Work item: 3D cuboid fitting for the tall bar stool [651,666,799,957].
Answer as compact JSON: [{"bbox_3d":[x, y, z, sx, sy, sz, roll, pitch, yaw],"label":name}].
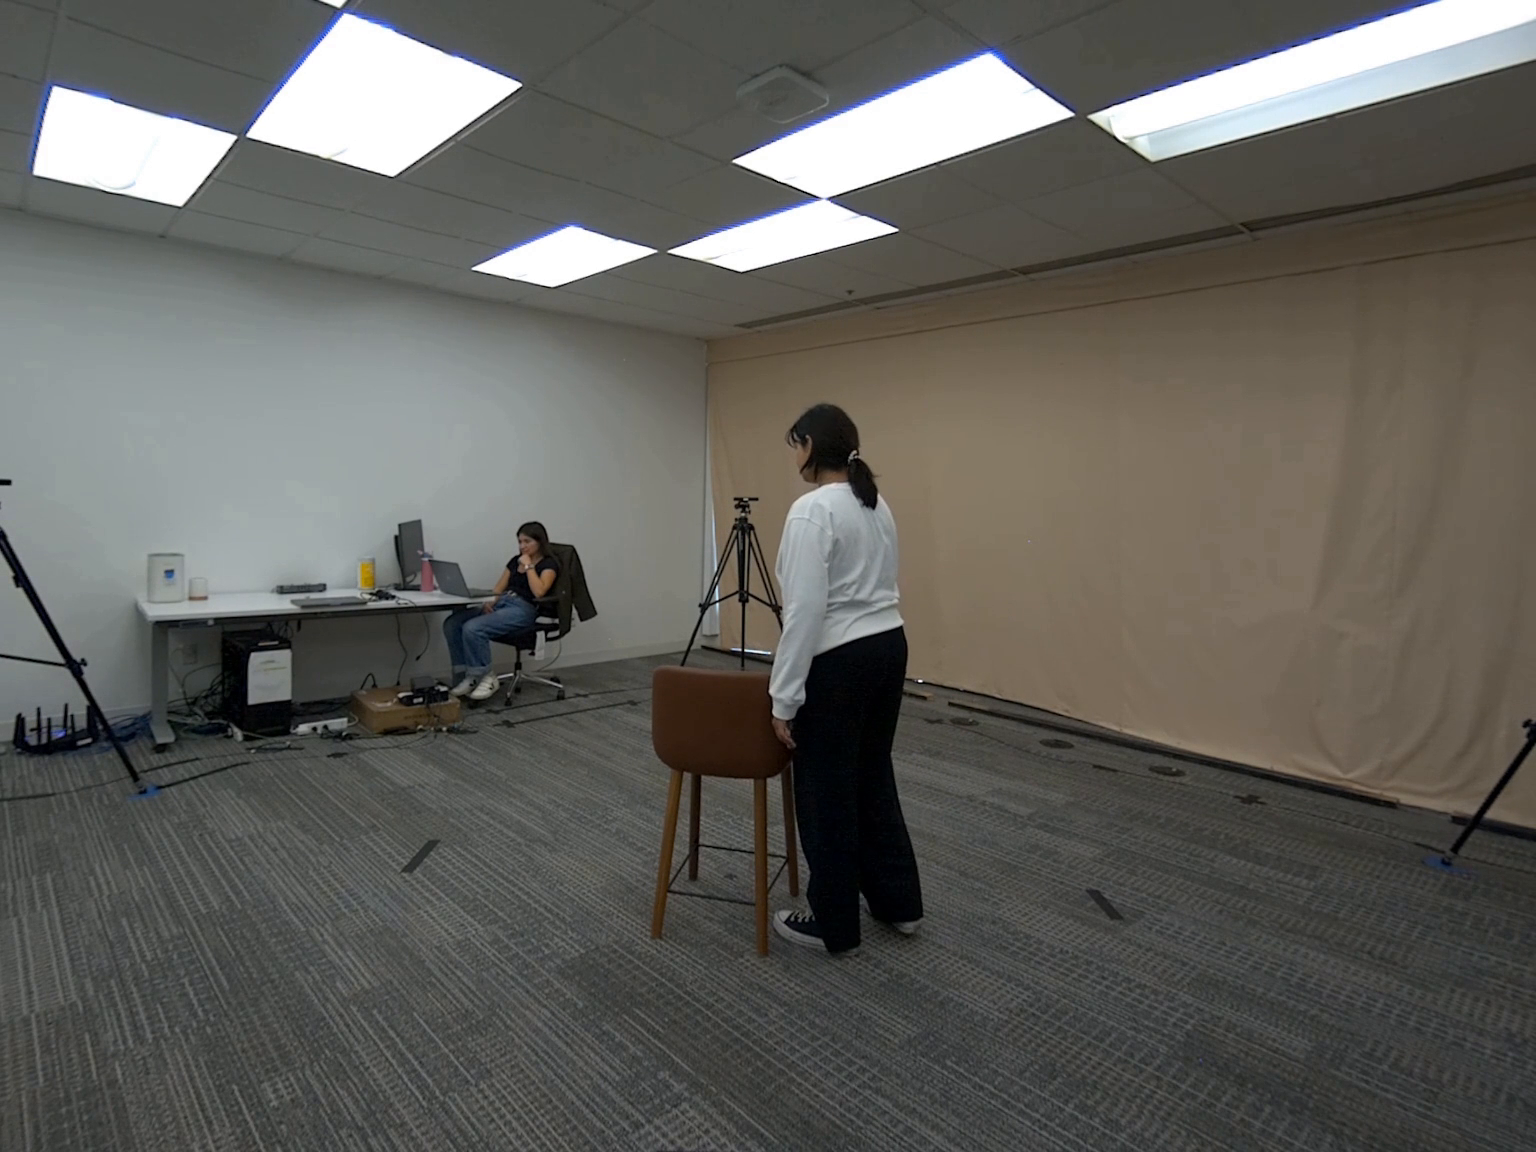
[{"bbox_3d":[-0.134,0.700,2.790,0.462,0.886,0.463,3,6,15],"label":"tall bar stool"}]
